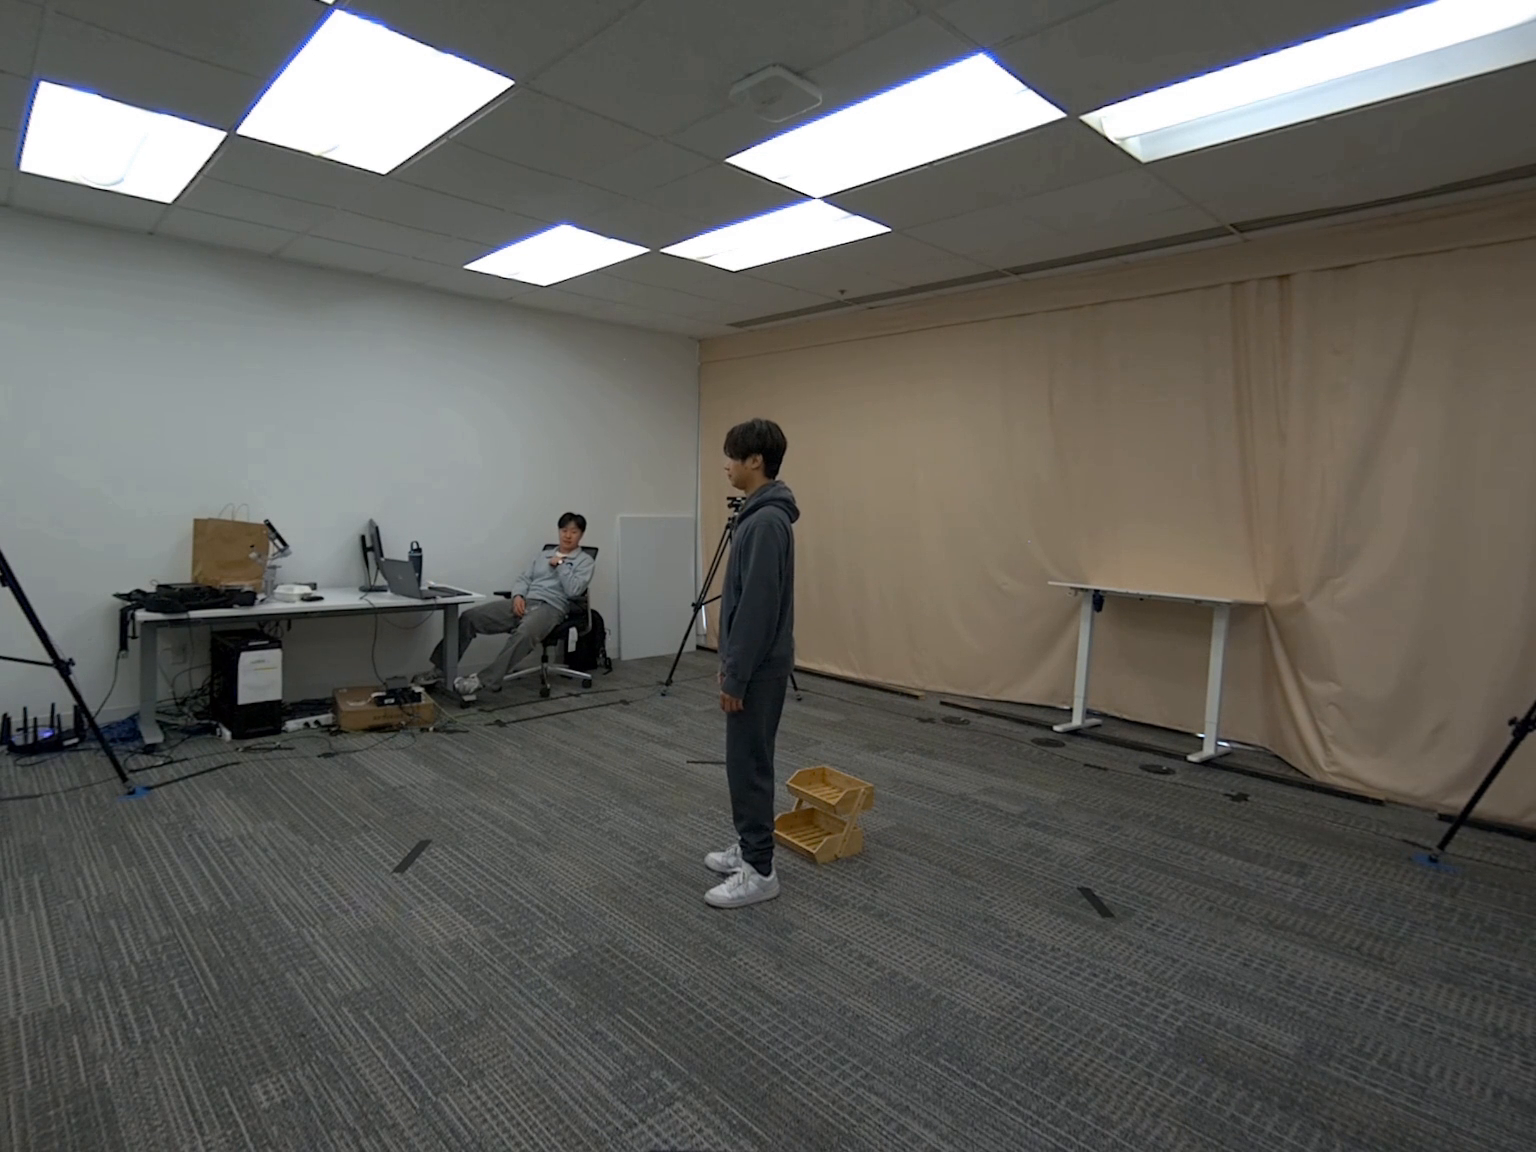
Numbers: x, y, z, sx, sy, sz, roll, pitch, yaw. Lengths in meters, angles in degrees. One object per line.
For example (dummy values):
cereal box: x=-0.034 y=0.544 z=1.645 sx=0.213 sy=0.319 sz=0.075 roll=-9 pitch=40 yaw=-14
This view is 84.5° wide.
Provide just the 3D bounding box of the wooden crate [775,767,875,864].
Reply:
wooden crate: x=0.203 y=0.953 z=3.413 sx=0.295 sy=0.273 sz=0.332 roll=0 pitch=4 yaw=-37
